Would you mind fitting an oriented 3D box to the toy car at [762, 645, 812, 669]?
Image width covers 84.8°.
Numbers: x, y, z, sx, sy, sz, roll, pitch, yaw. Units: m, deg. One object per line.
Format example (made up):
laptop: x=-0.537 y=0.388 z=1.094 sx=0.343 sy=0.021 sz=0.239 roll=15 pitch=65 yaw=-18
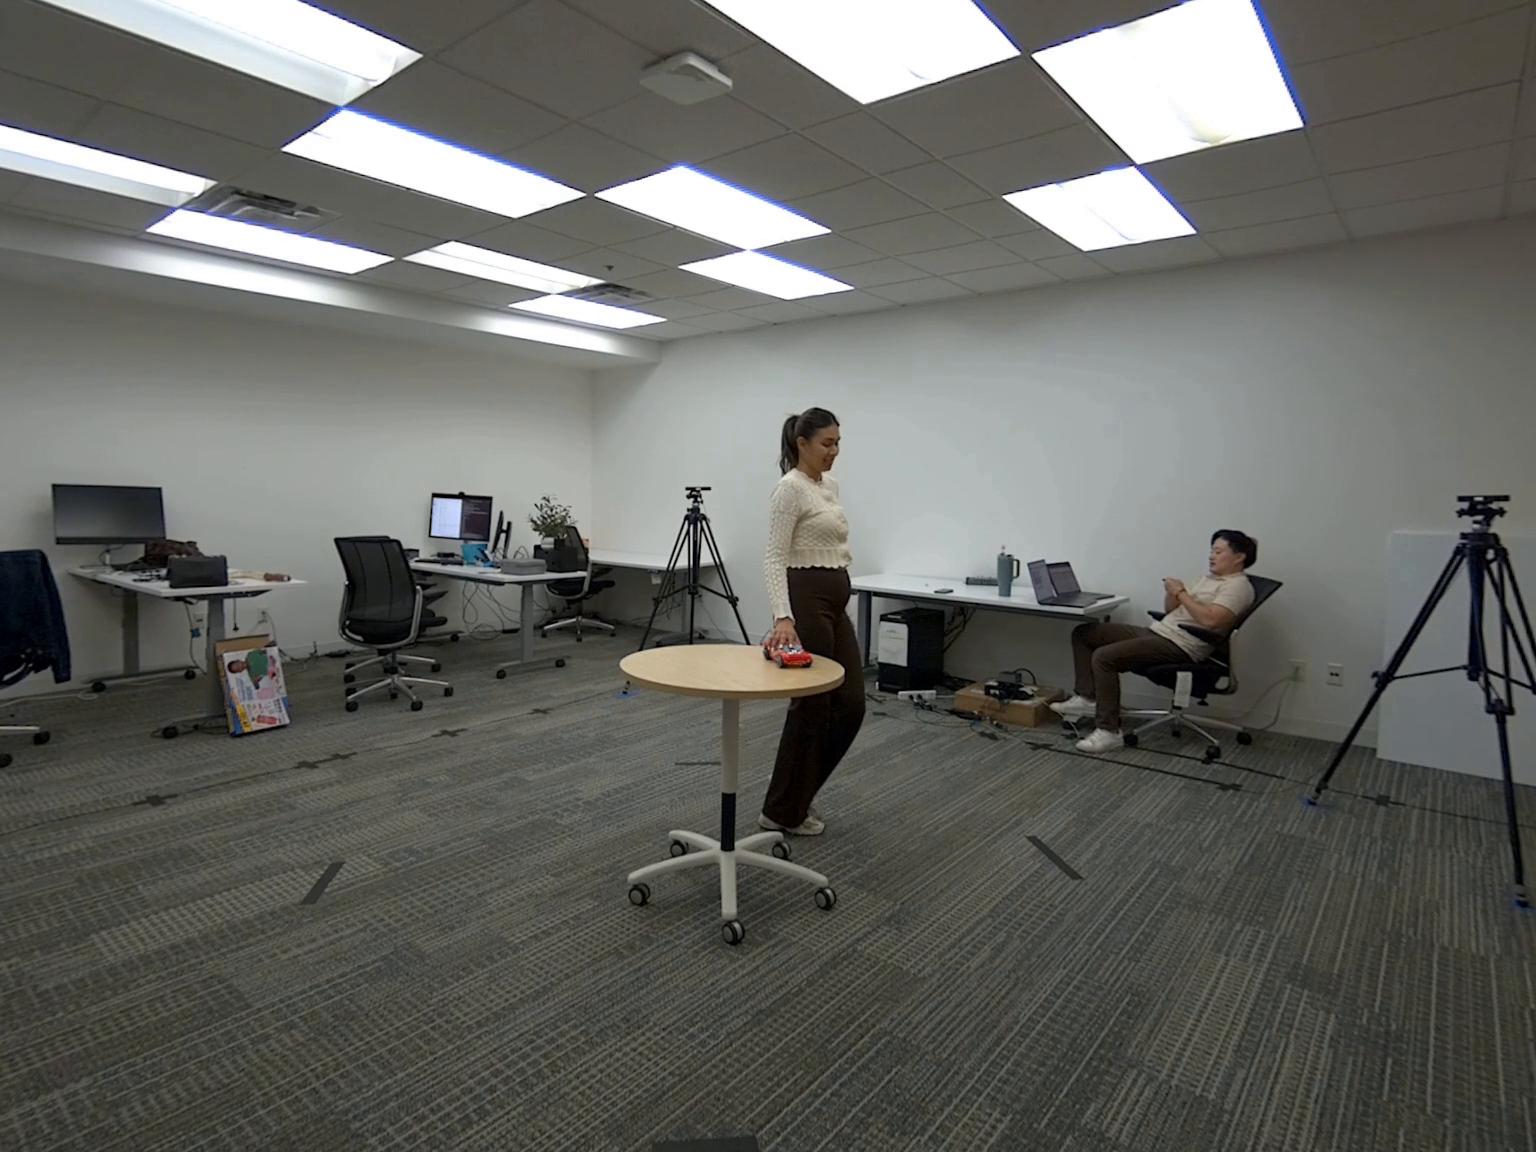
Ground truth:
toy car: x=0.051 y=0.265 z=2.990 sx=0.128 sy=0.082 sz=0.261 roll=0 pitch=14 yaw=-15
